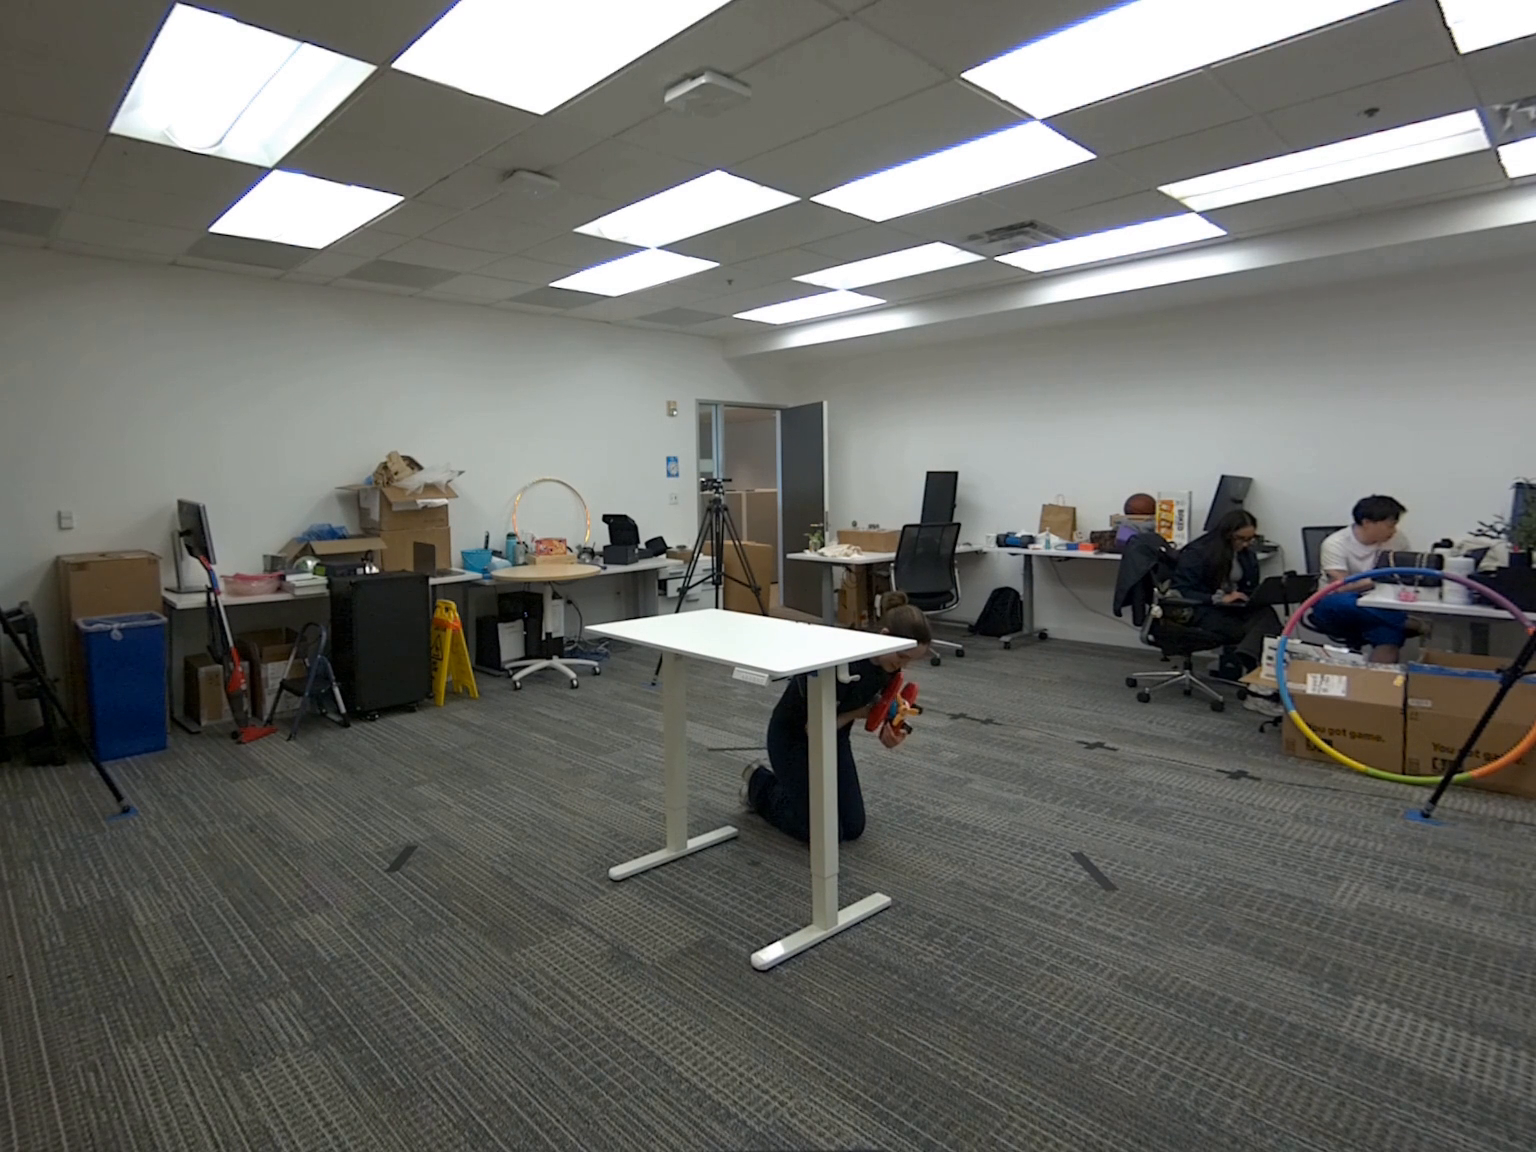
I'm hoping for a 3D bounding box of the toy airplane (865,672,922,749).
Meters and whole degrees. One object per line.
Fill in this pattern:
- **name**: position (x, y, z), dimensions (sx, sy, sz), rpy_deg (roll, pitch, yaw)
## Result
- **toy airplane**: position (0.455, 0.517, 3.290), dimensions (0.263, 0.256, 0.151), rpy_deg (-22, -49, 37)
